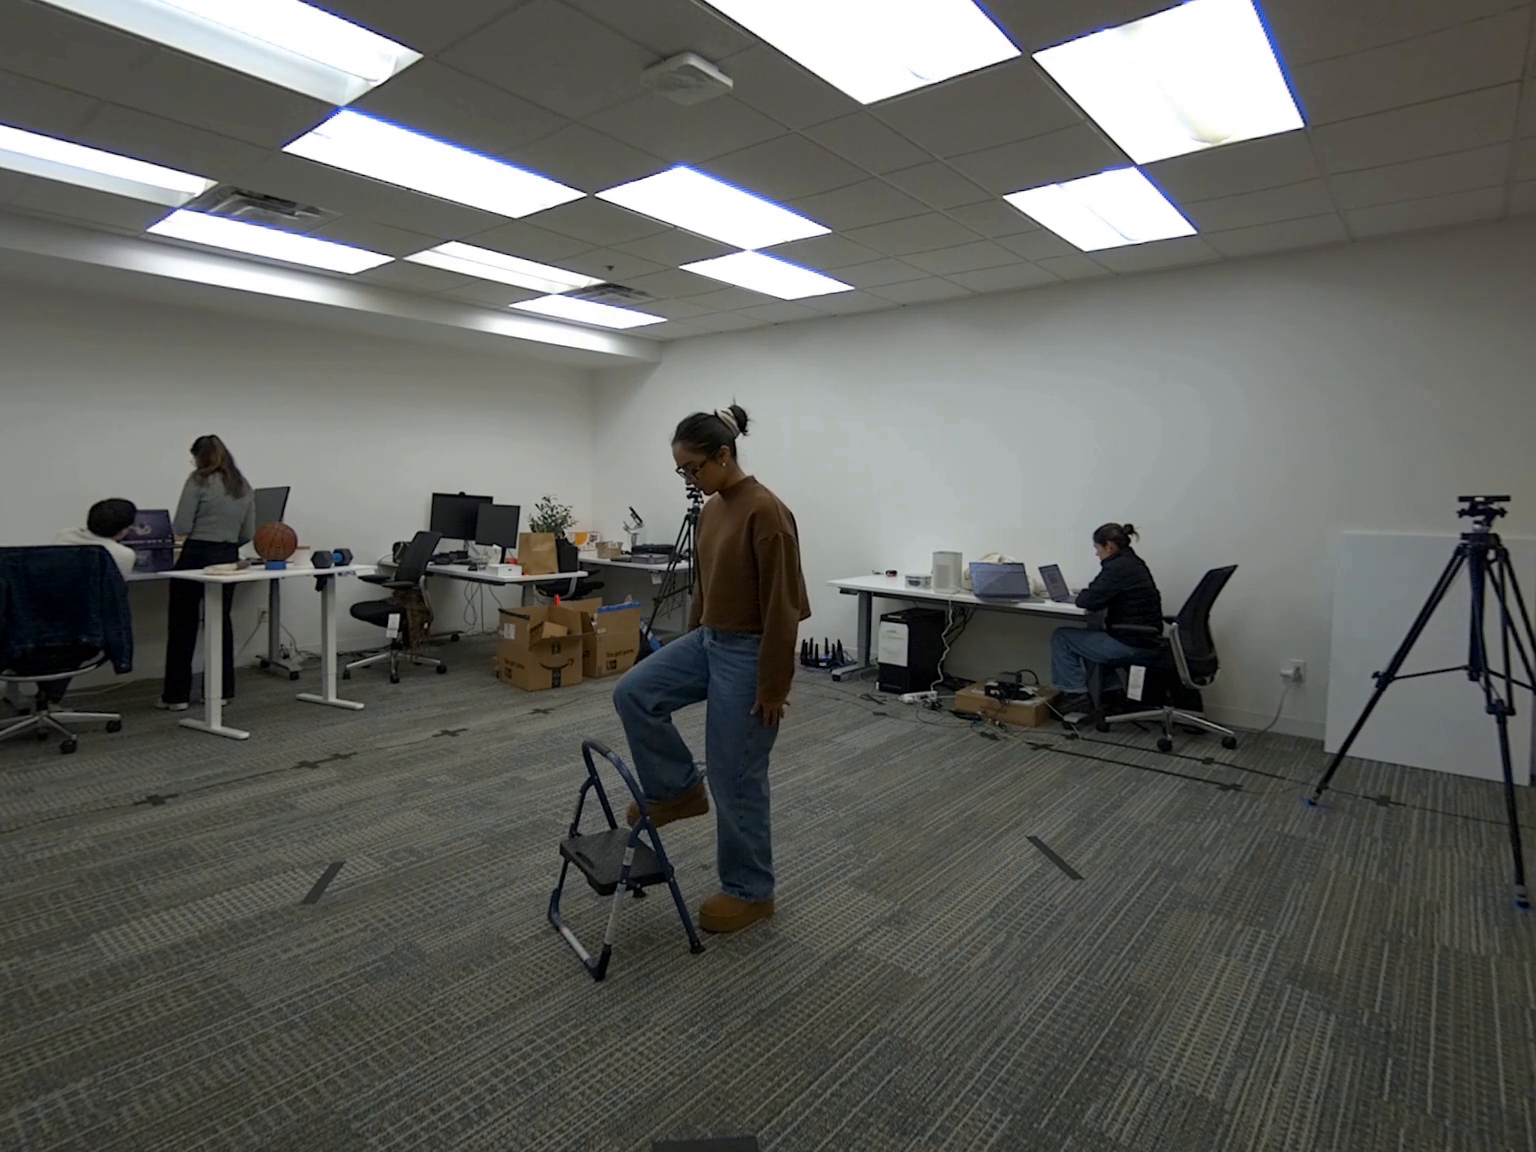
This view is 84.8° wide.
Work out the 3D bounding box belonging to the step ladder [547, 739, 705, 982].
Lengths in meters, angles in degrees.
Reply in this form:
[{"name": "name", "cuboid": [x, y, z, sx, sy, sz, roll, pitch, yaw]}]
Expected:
[{"name": "step ladder", "cuboid": [-0.456, 0.806, 2.623, 0.339, 0.604, 0.444, -1, 5, -34]}]
